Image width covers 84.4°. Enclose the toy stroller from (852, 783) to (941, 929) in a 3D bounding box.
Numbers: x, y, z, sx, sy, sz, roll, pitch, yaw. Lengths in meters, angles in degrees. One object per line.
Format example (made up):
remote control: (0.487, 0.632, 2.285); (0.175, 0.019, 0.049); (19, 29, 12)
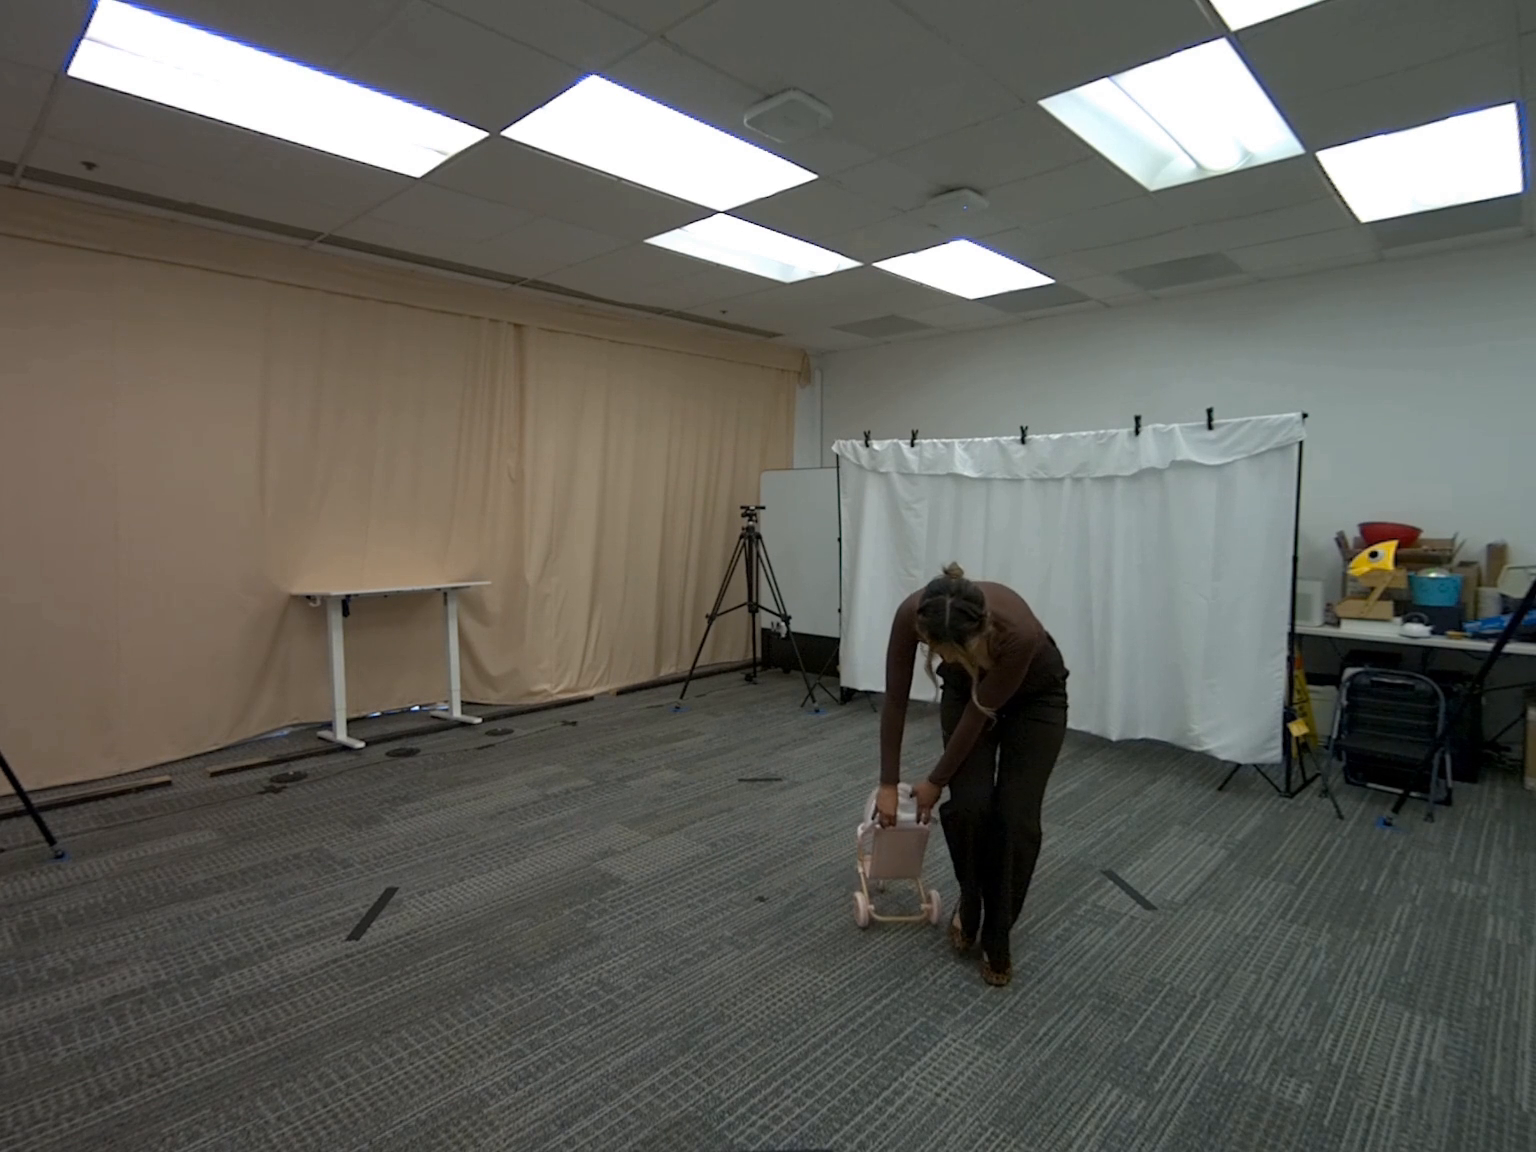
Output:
toy stroller: (0.430, 0.928, 2.848); (0.282, 0.528, 0.345); (1, 21, 0)
